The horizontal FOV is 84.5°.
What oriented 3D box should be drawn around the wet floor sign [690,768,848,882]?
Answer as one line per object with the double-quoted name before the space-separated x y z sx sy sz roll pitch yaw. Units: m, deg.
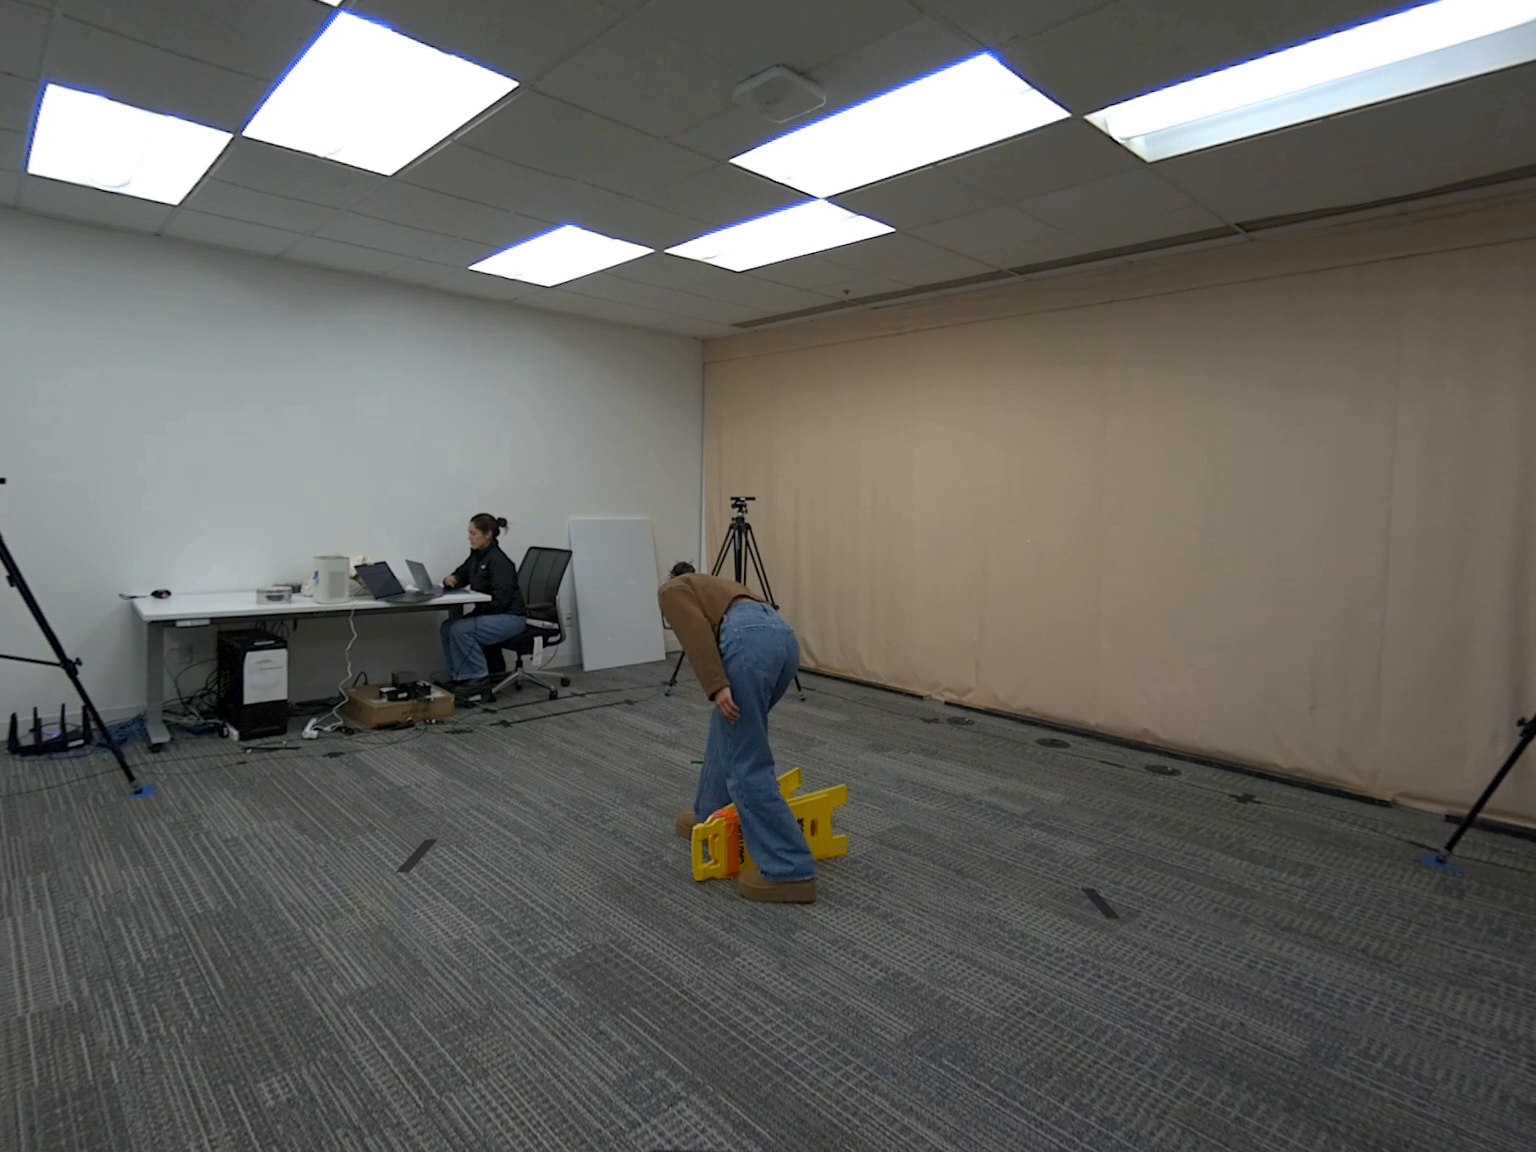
"wet floor sign" -0.022 0.972 3.222 0.632 0.281 0.297 -6 7 -39
